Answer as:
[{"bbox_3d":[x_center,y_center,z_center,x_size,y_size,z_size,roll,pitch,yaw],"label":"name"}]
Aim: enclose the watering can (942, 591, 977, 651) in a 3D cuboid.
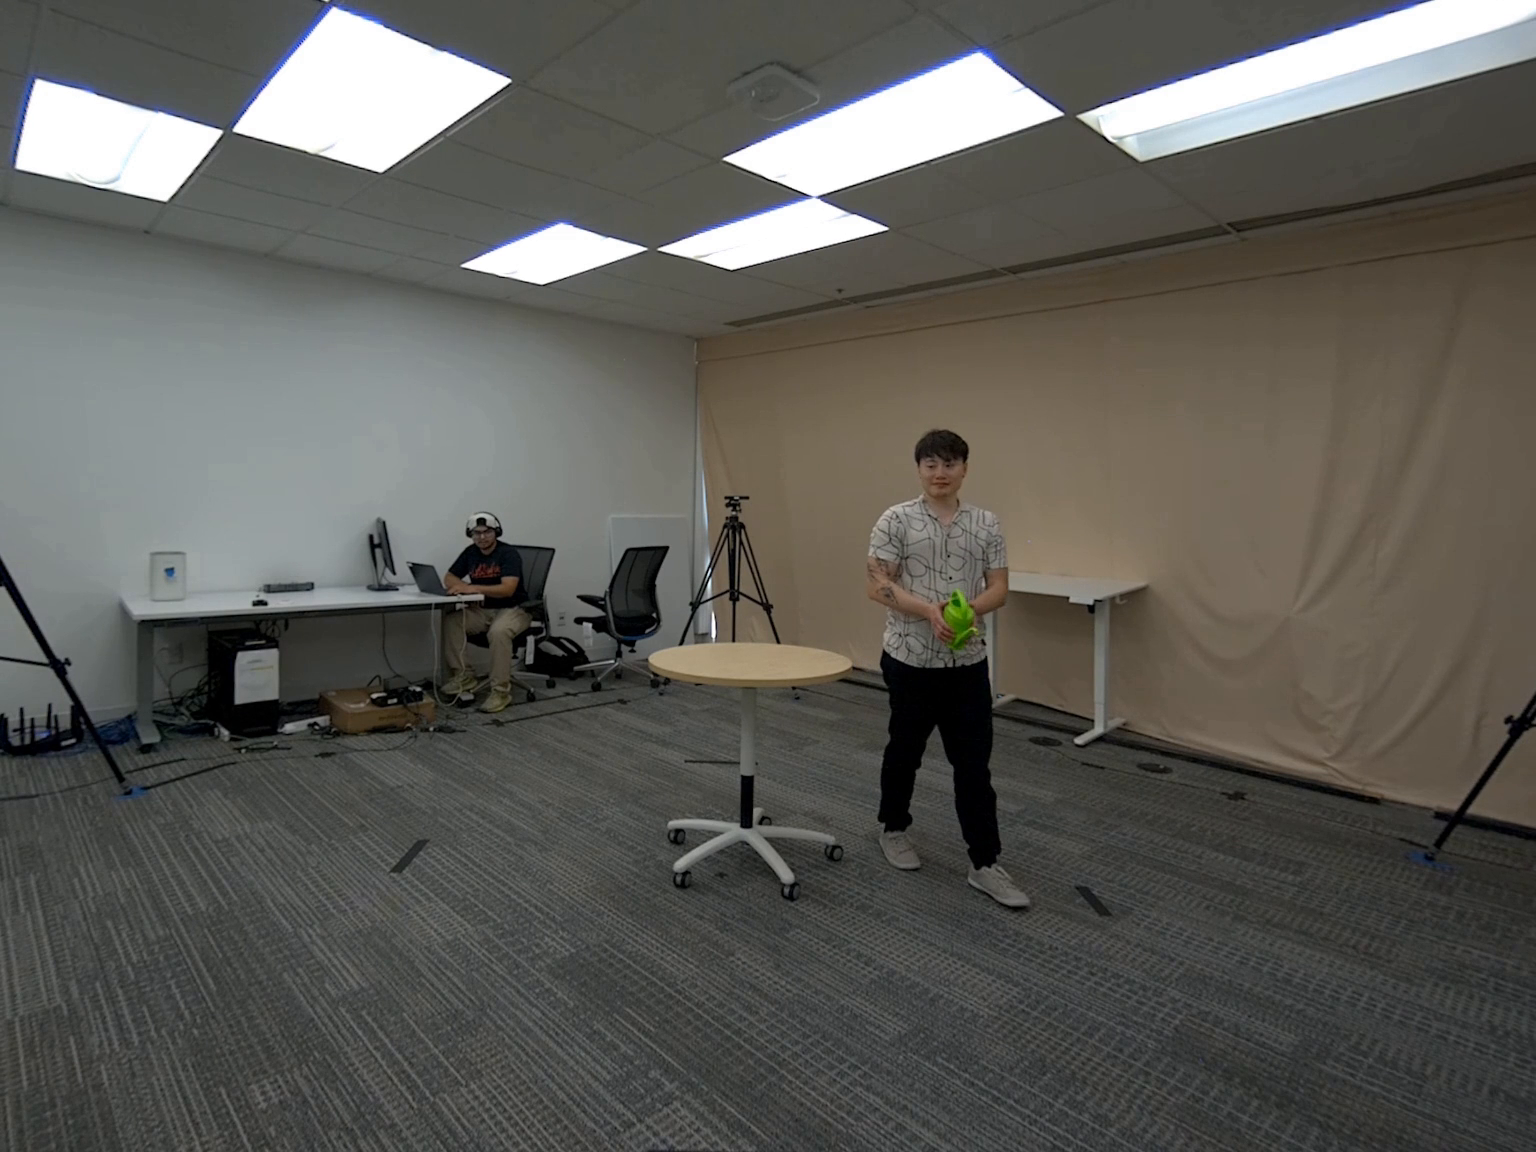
[{"bbox_3d":[0.636,0.168,2.828,0.098,0.174,0.281,10,32,5],"label":"watering can"}]
